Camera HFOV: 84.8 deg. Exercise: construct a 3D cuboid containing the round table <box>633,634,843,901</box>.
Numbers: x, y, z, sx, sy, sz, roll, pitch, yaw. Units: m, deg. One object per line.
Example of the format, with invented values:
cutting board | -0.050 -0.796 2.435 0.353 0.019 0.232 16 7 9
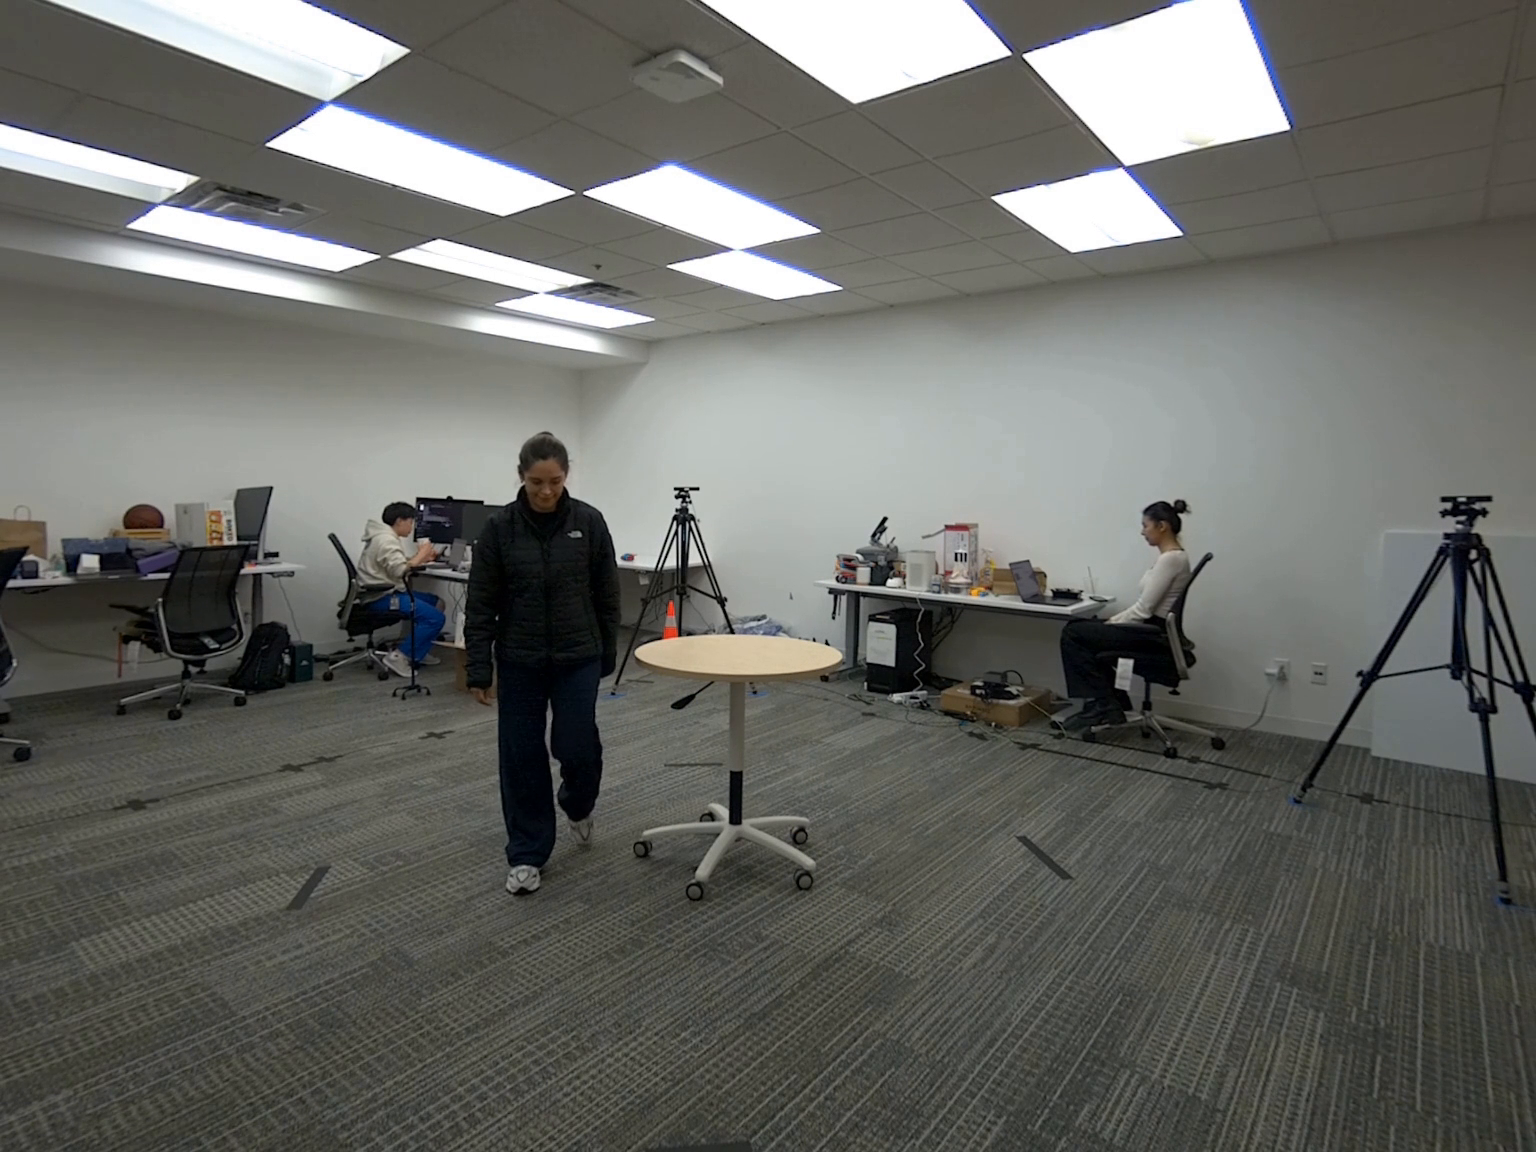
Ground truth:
round table | -0.098 0.671 3.164 0.784 0.784 0.789 0 4 -2
